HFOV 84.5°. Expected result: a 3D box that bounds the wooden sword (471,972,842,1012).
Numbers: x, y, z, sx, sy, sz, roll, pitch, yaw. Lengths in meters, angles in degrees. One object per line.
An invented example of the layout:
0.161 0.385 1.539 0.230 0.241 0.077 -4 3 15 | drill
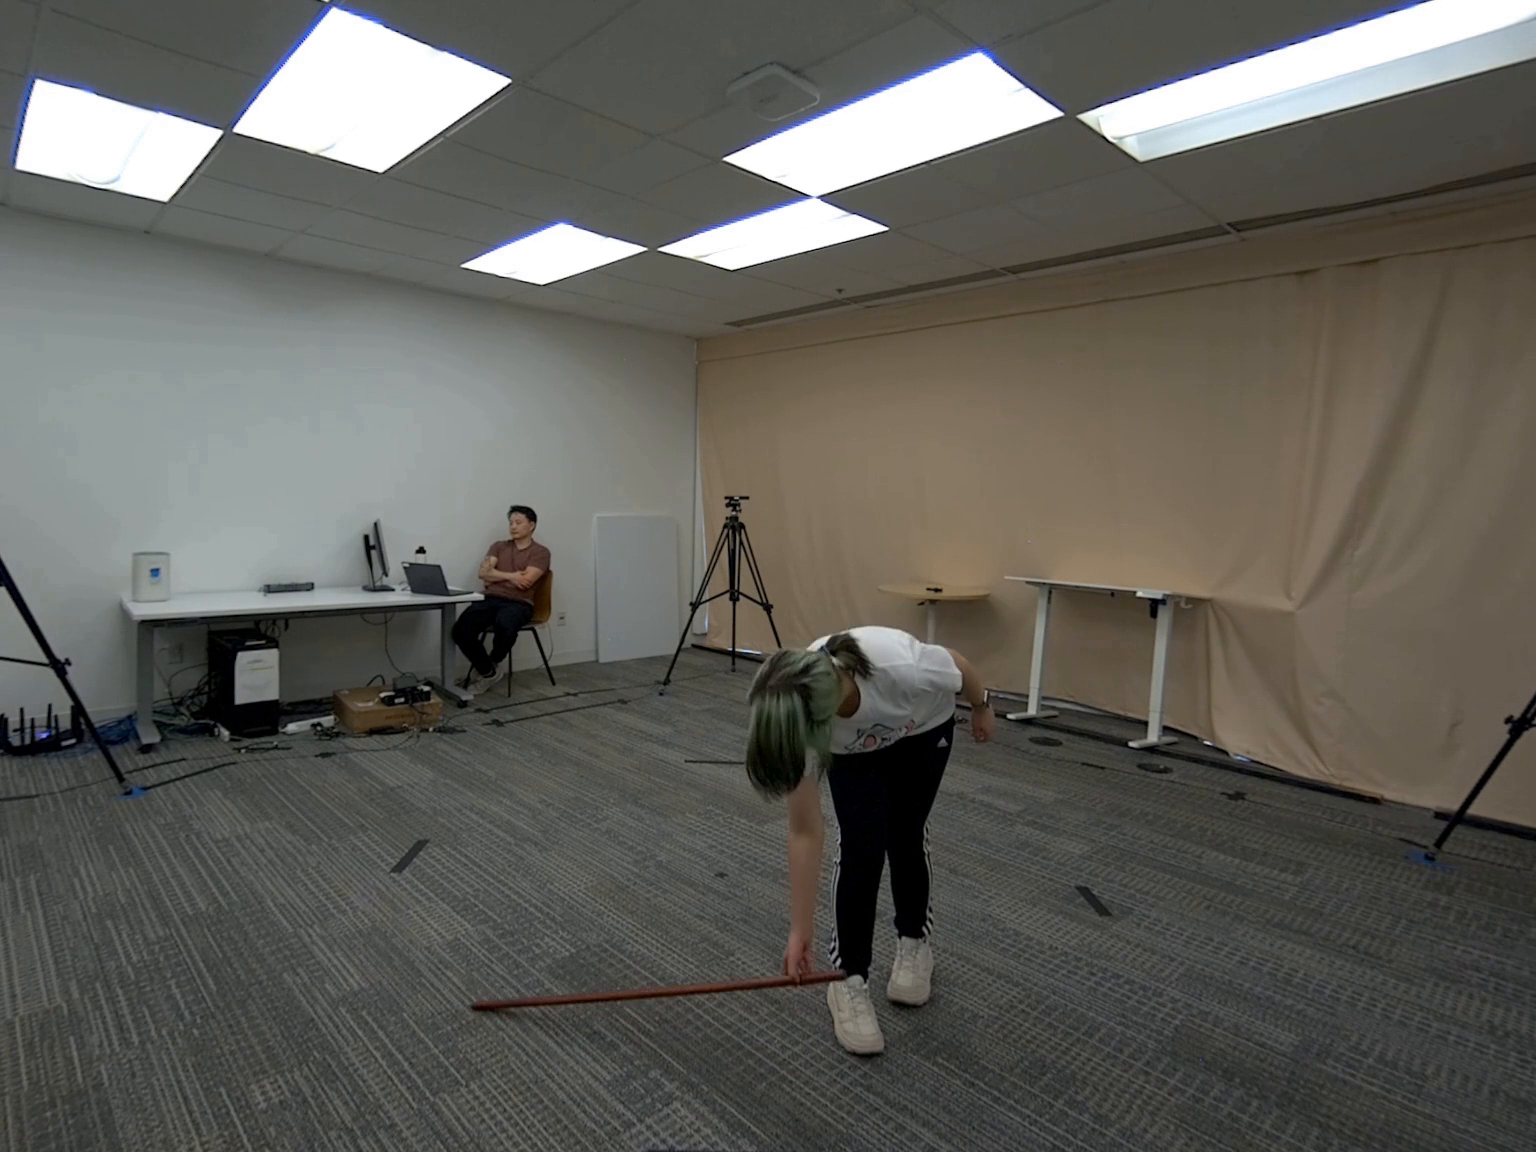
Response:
-0.296 1.074 2.153 1.034 0.023 0.052 -10 44 15 | wooden sword
